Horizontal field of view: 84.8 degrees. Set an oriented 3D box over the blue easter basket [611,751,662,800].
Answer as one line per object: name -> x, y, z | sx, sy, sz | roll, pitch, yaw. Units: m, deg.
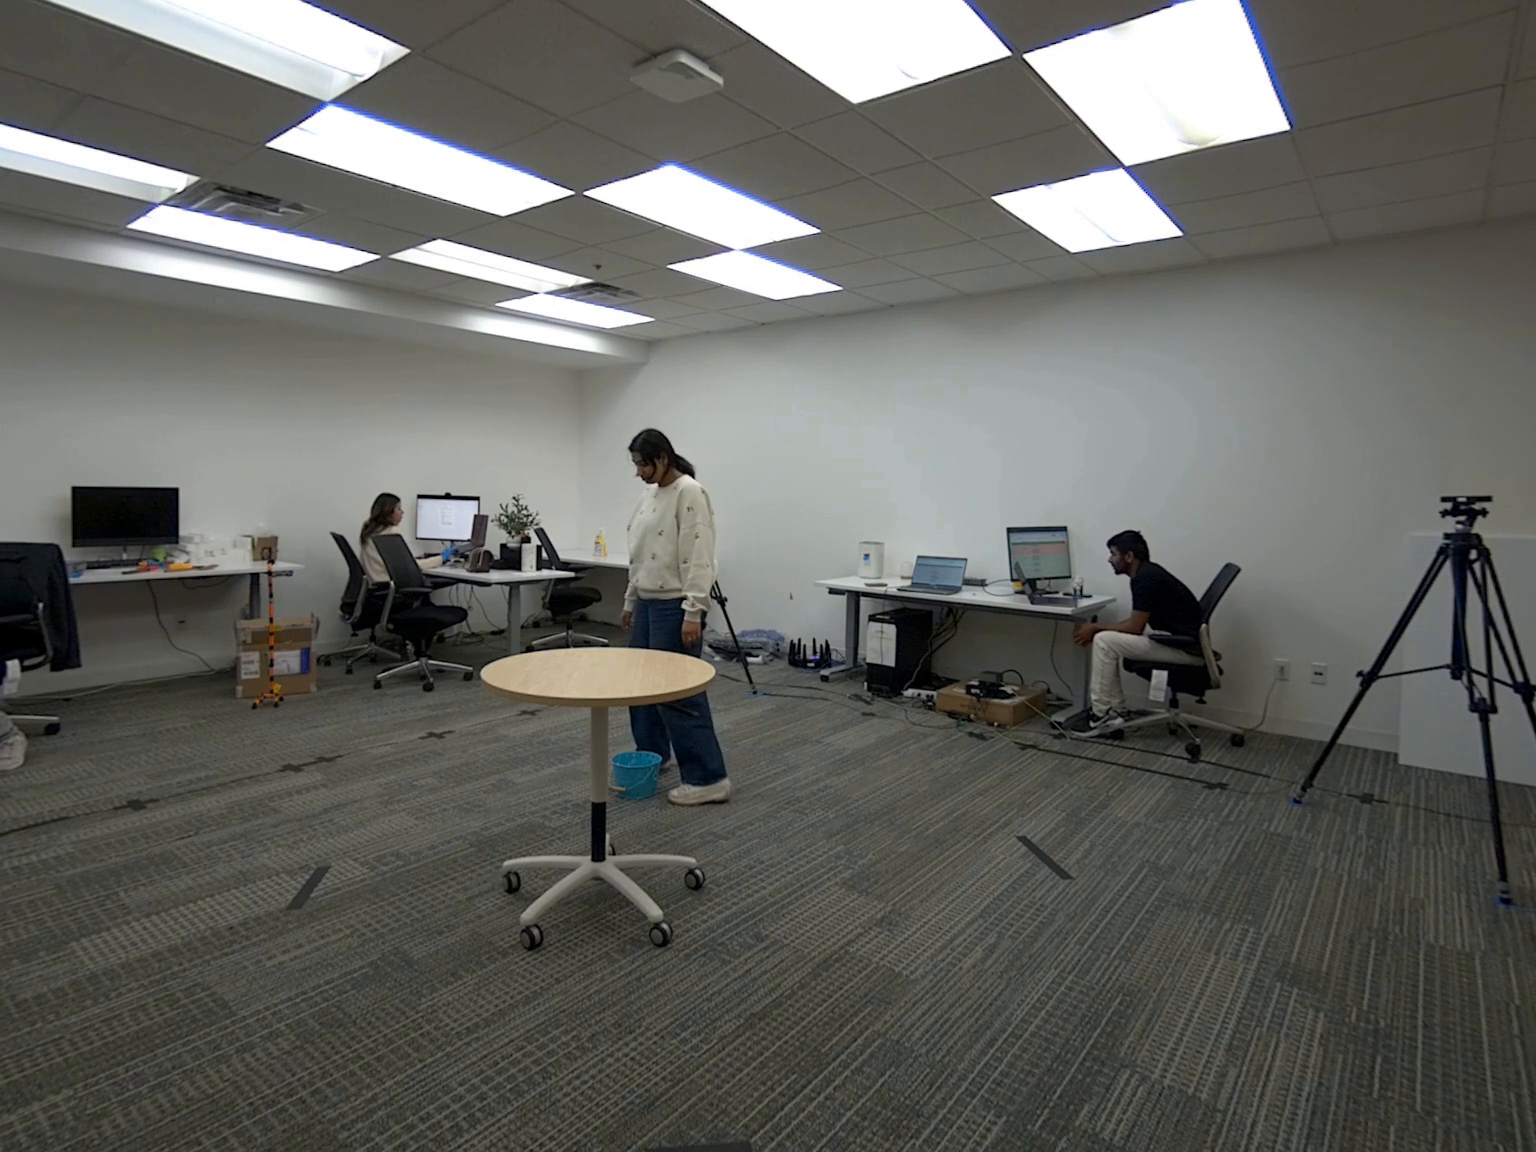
blue easter basket -> -0.626, 0.910, 3.905 | 0.243, 0.155, 0.245 | 1, 4, -2
